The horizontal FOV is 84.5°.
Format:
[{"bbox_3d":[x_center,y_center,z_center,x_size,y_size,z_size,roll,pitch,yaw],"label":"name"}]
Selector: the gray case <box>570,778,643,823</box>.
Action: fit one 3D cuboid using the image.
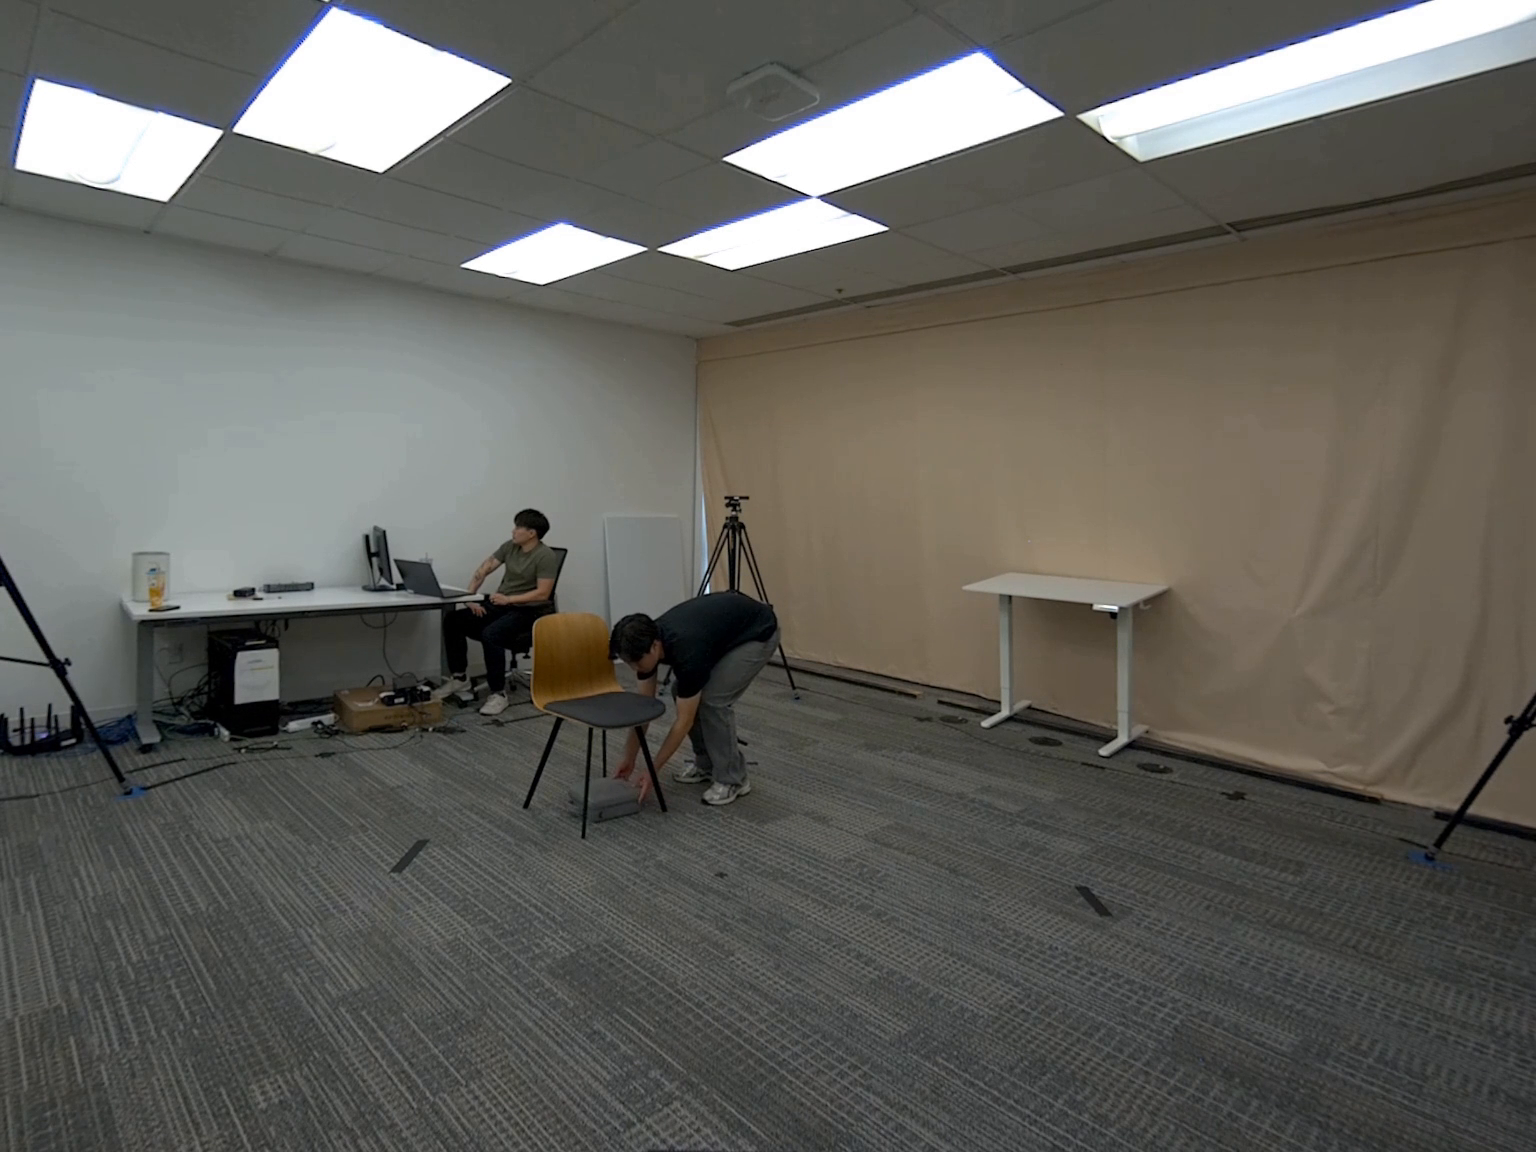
[{"bbox_3d":[-0.740,0.980,3.719,0.281,0.103,0.269,-3,5,-35],"label":"gray case"}]
